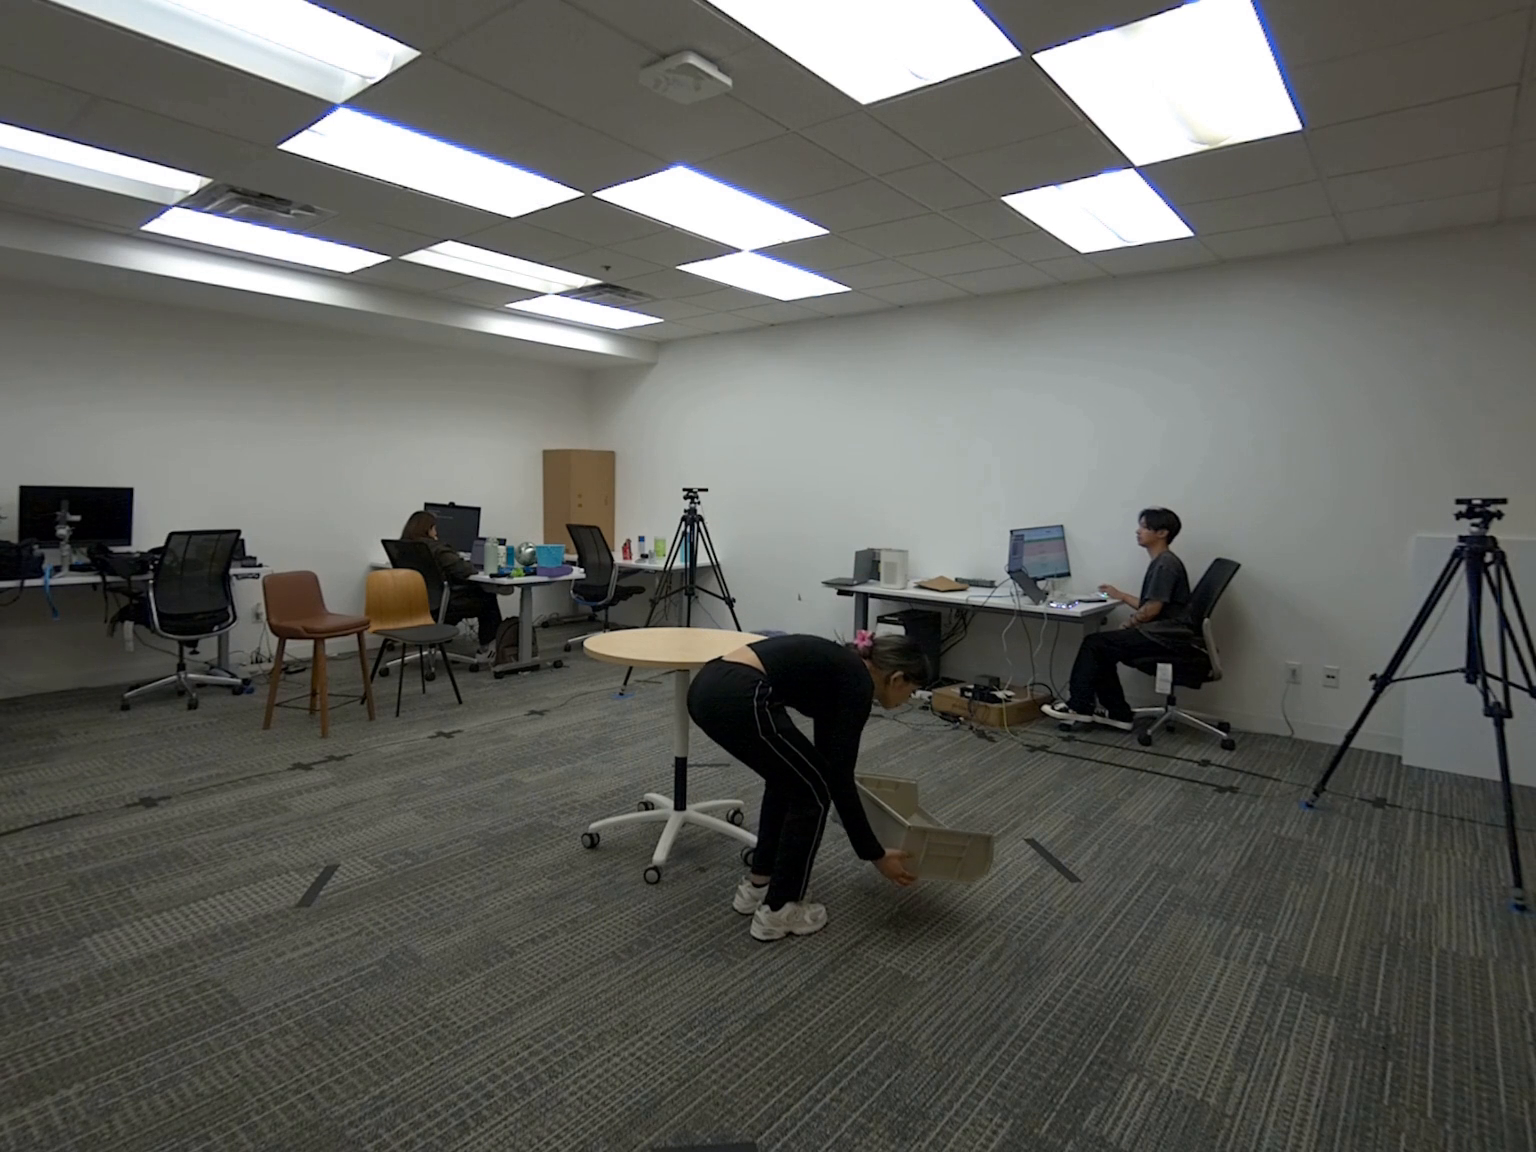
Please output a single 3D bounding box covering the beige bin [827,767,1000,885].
[{"bbox_3d":[0.471,0.835,2.857,0.367,0.188,0.436,12,6,-26],"label":"beige bin"}]
